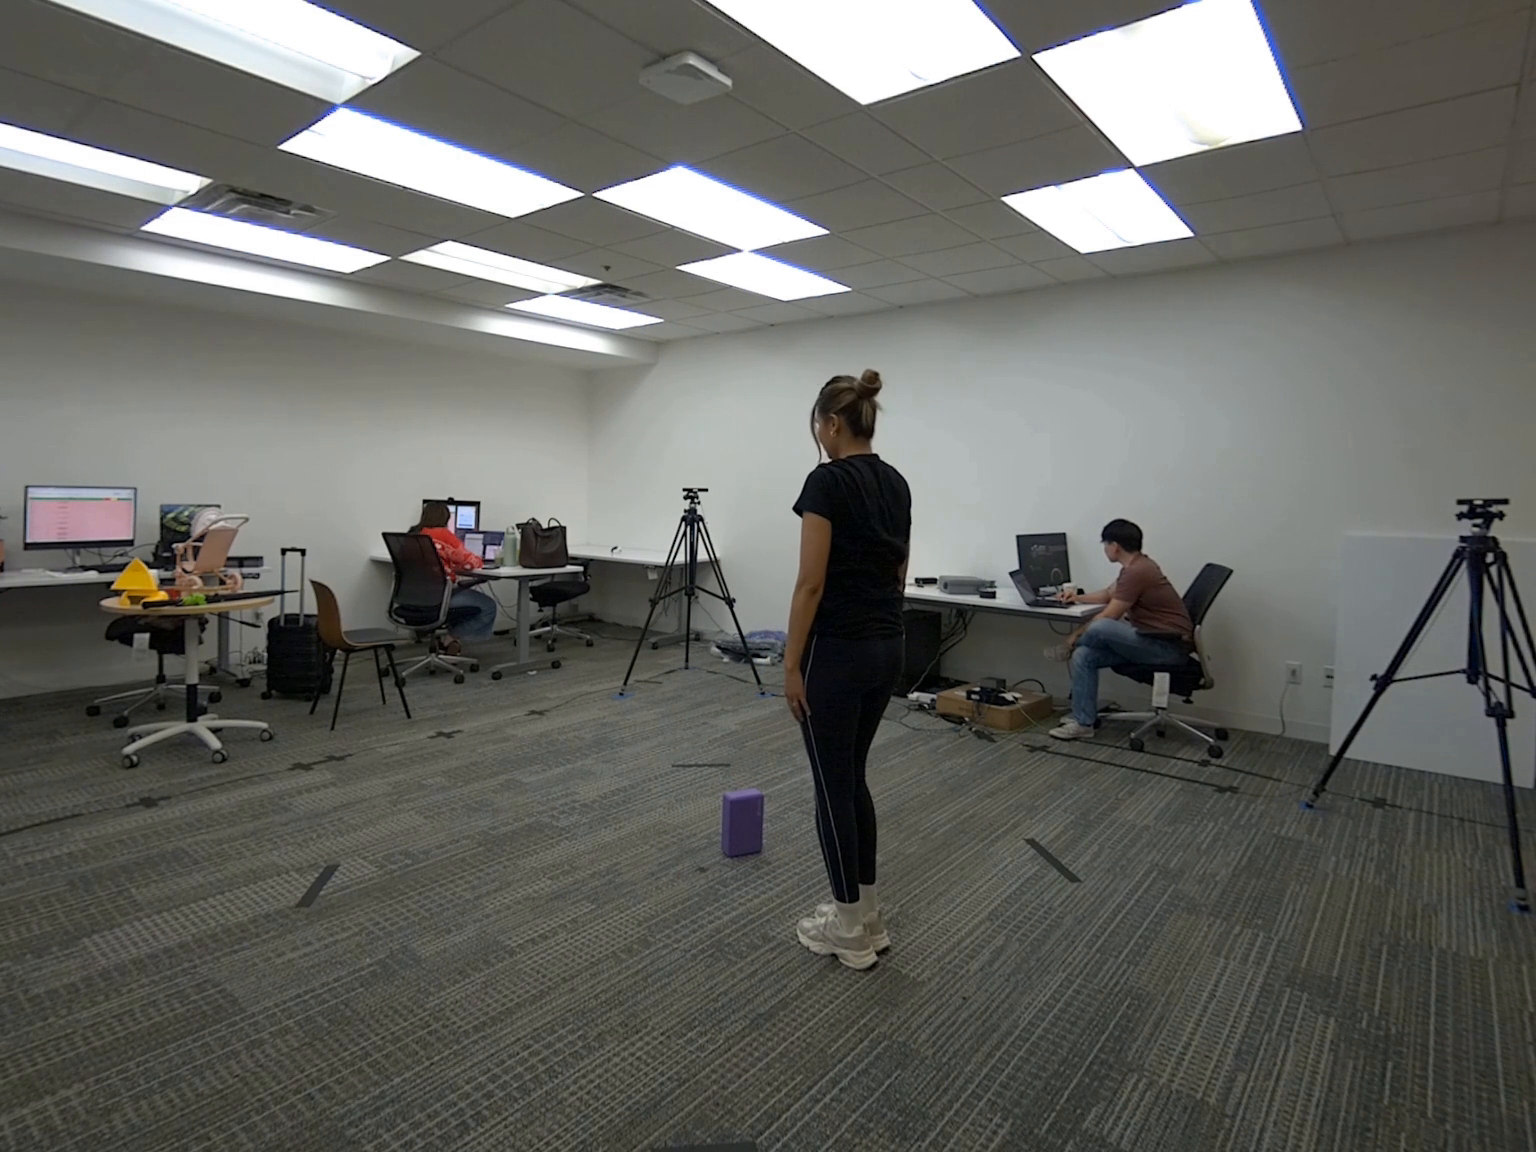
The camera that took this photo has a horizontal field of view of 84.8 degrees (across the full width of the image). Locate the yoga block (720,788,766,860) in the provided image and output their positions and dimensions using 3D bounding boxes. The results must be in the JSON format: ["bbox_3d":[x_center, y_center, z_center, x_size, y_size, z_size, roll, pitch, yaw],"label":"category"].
[{"bbox_3d":[-0.106,0.939,3.260,0.145,0.229,0.078,-1,3,-28],"label":"yoga block"}]
